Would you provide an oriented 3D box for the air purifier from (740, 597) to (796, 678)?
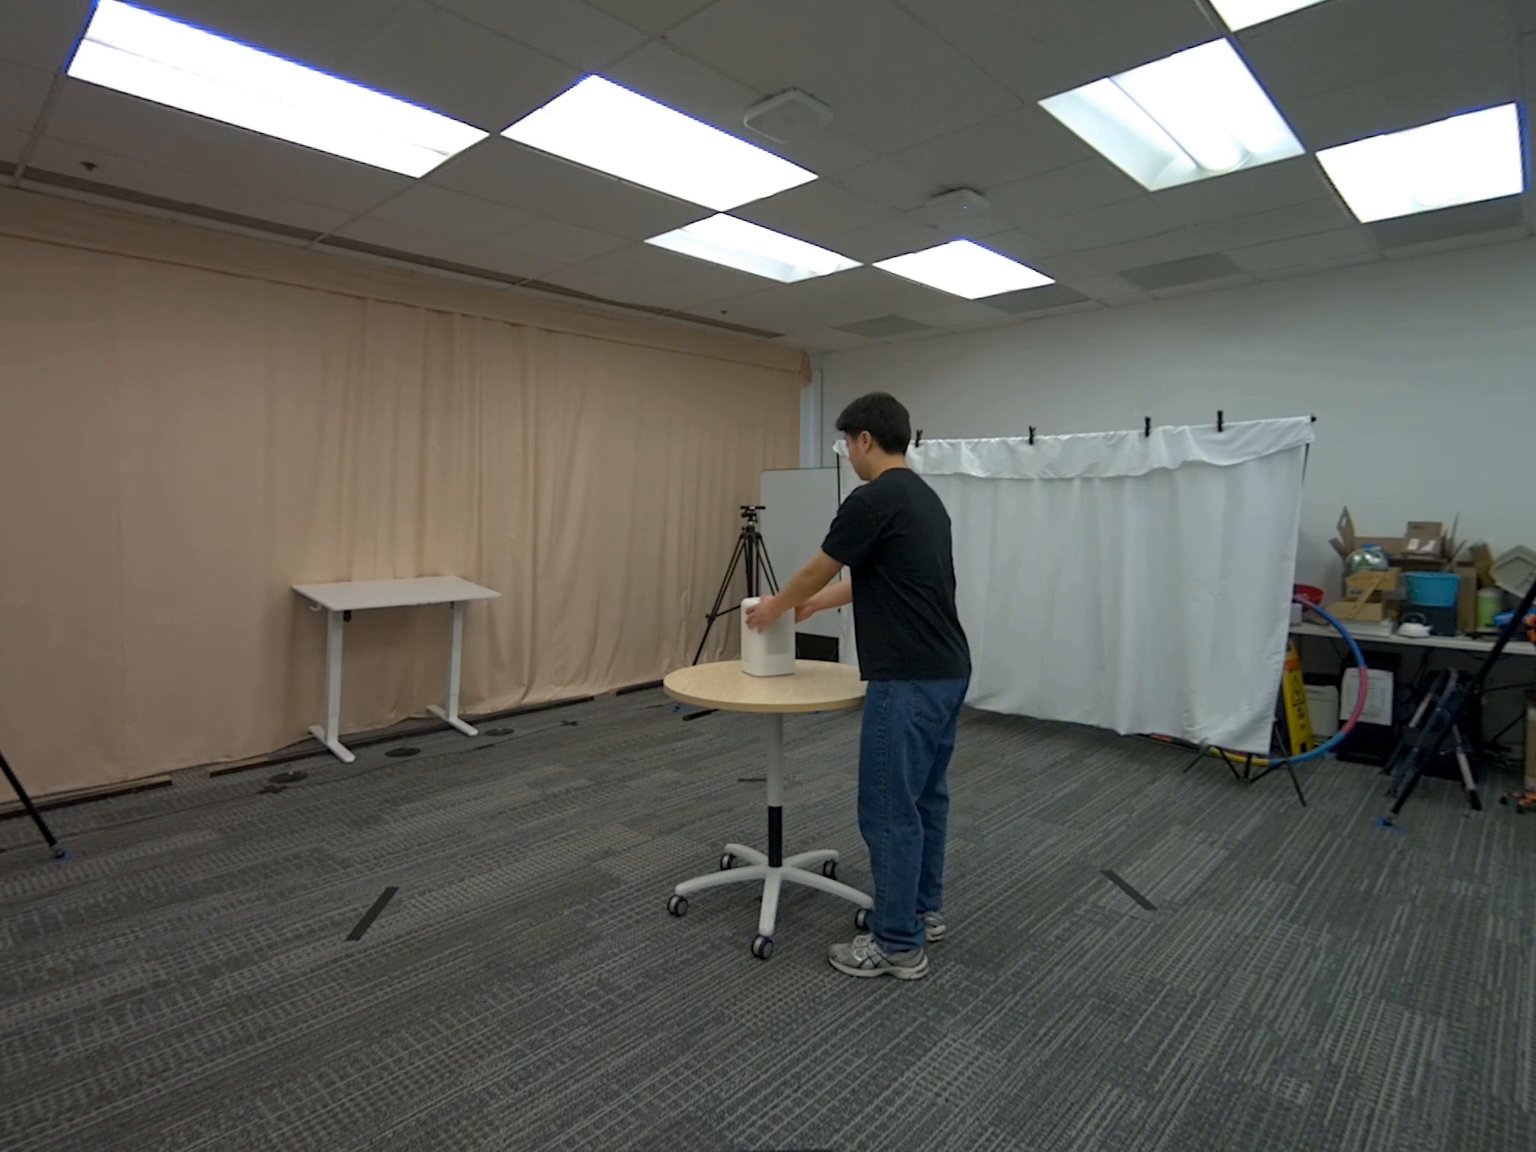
[{"bbox_3d":[0.001,0.214,3.020,0.168,0.265,0.175,0,2,-21],"label":"air purifier"}]
